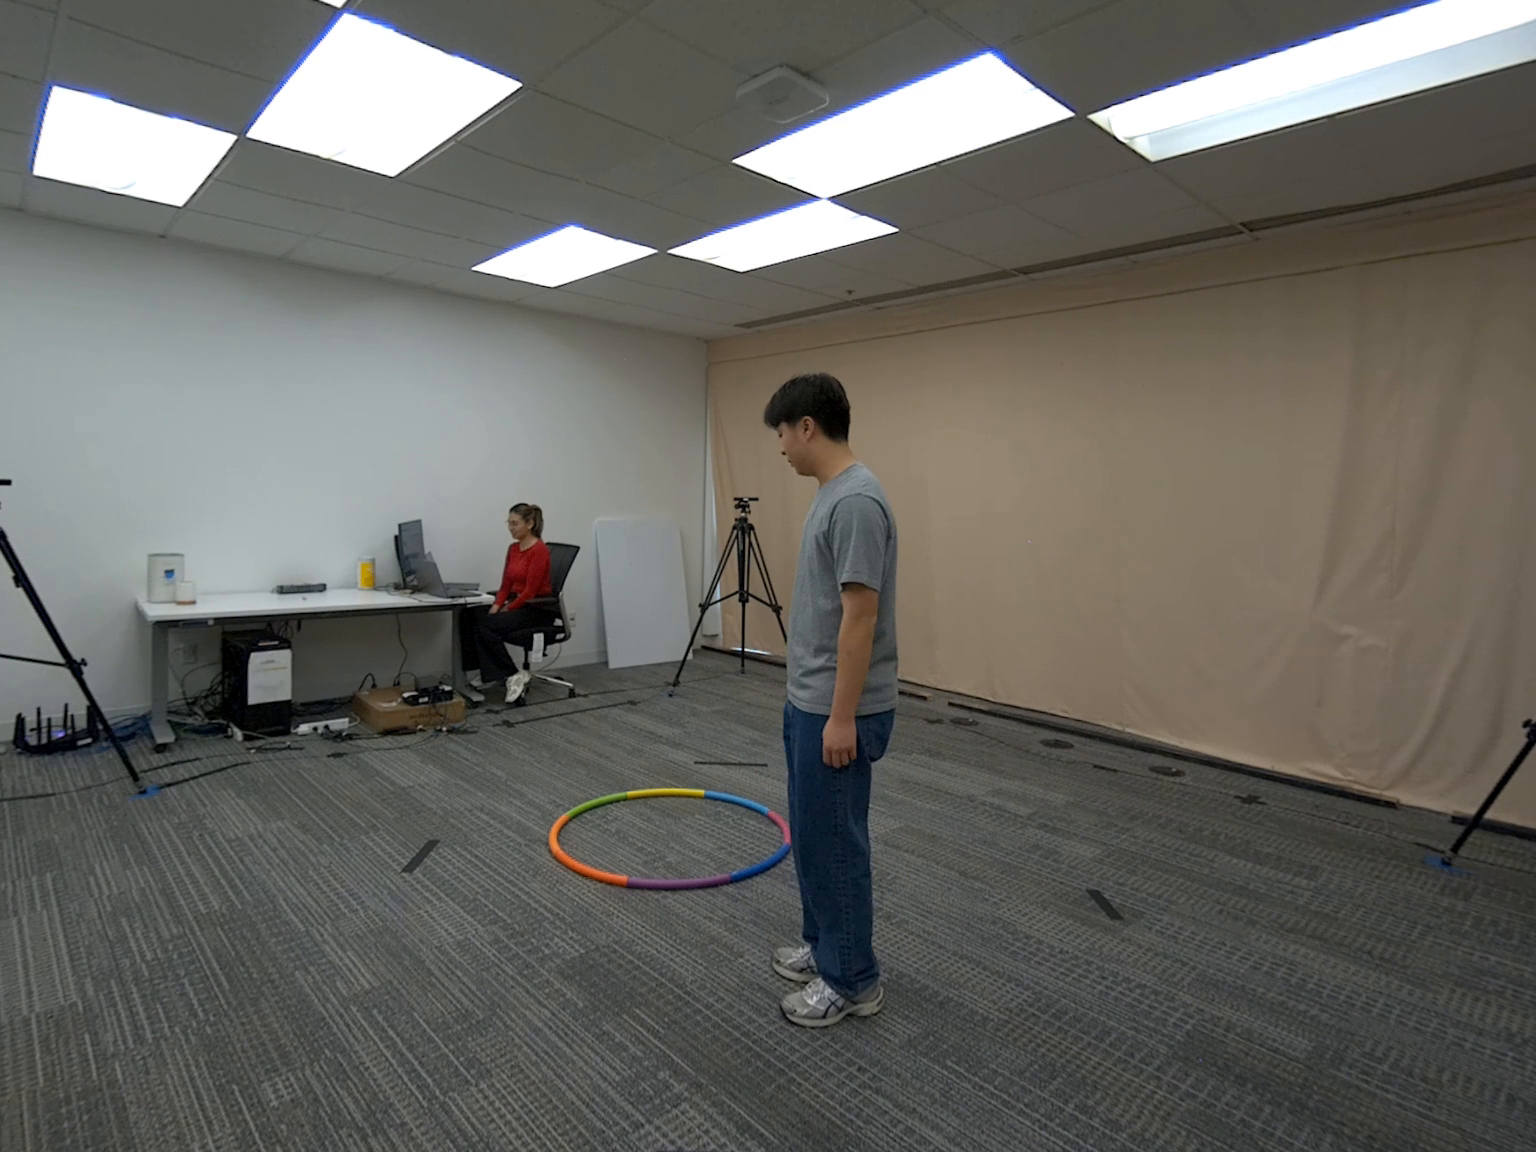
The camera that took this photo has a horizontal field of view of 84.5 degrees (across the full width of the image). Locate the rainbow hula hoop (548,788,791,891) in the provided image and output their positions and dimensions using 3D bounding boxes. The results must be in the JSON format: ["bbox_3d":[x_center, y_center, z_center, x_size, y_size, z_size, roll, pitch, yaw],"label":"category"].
[{"bbox_3d":[-0.408,1.040,3.464,0.978,0.035,0.982,2,5,-1],"label":"rainbow hula hoop"}]
